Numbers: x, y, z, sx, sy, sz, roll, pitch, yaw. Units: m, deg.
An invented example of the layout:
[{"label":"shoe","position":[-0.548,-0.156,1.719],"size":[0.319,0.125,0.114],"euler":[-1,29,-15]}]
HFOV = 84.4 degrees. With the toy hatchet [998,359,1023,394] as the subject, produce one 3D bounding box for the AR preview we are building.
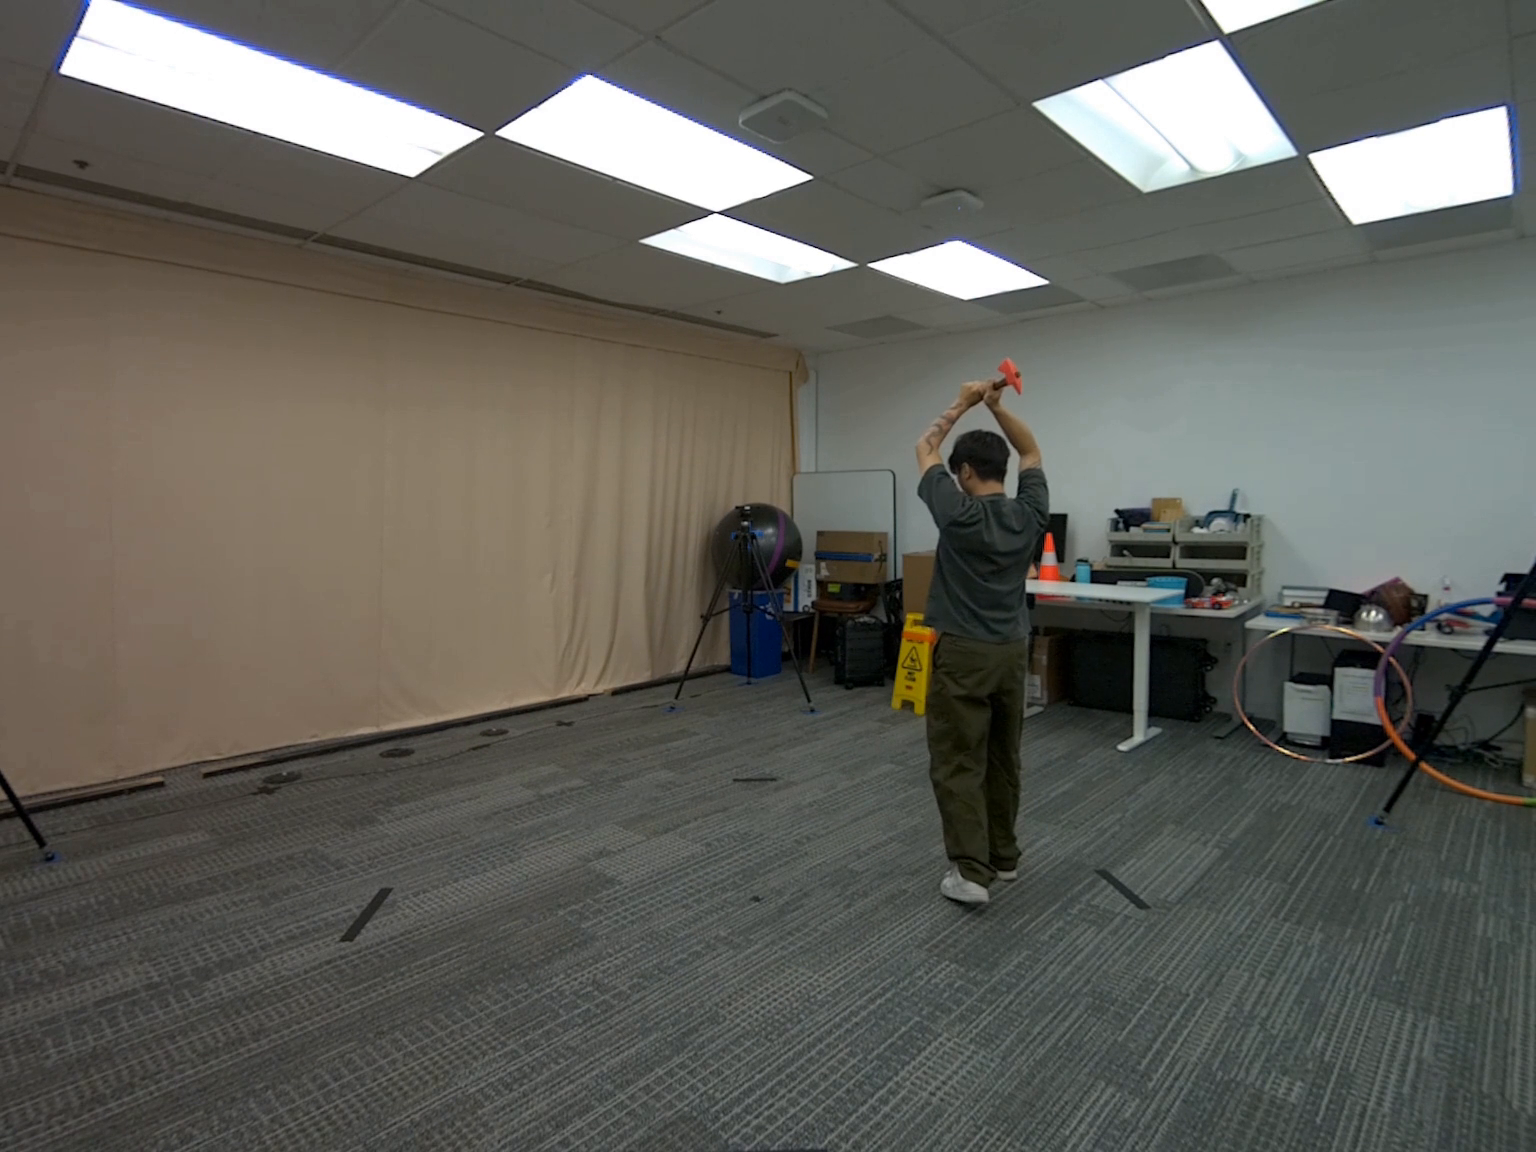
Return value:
[{"label":"toy hatchet","position":[0.821,-0.722,3.088],"size":[0.029,0.129,0.278],"euler":[-20,18,-22]}]
